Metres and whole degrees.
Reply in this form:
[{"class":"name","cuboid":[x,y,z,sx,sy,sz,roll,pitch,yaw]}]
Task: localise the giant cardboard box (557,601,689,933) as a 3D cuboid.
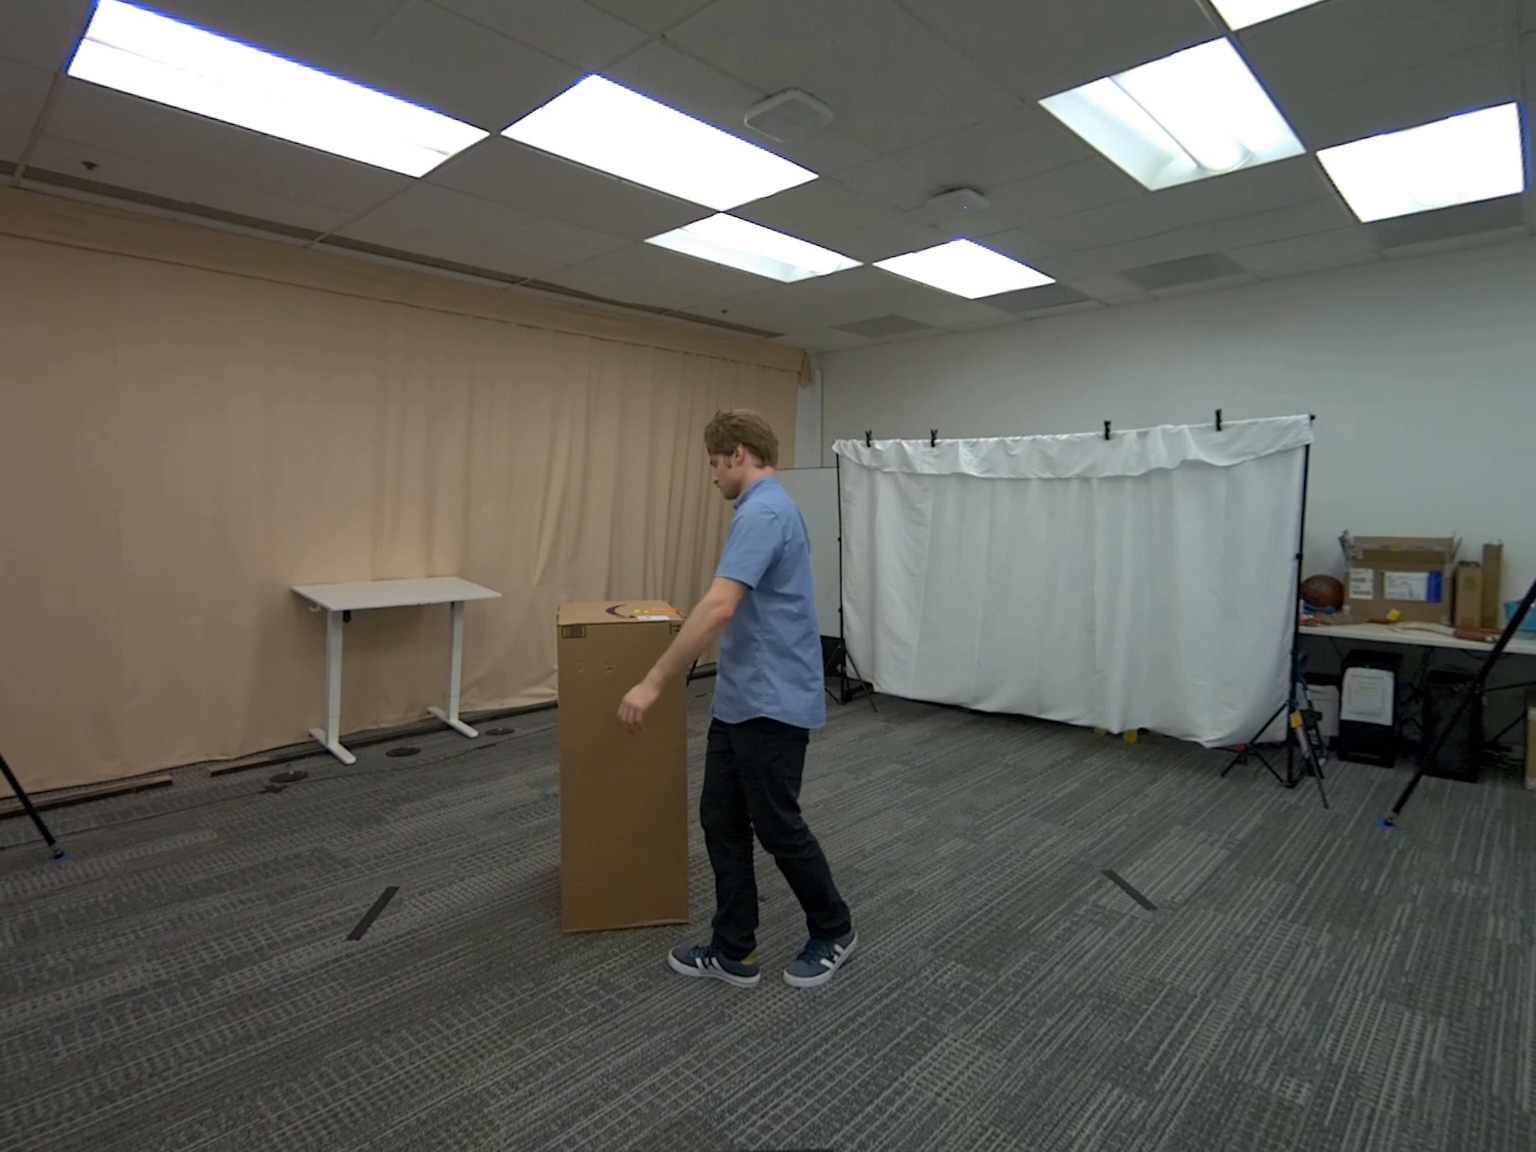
[{"class":"giant cardboard box","cuboid":[-0.536,0.632,3.036,0.442,1.025,0.591,0,3,-11]}]
